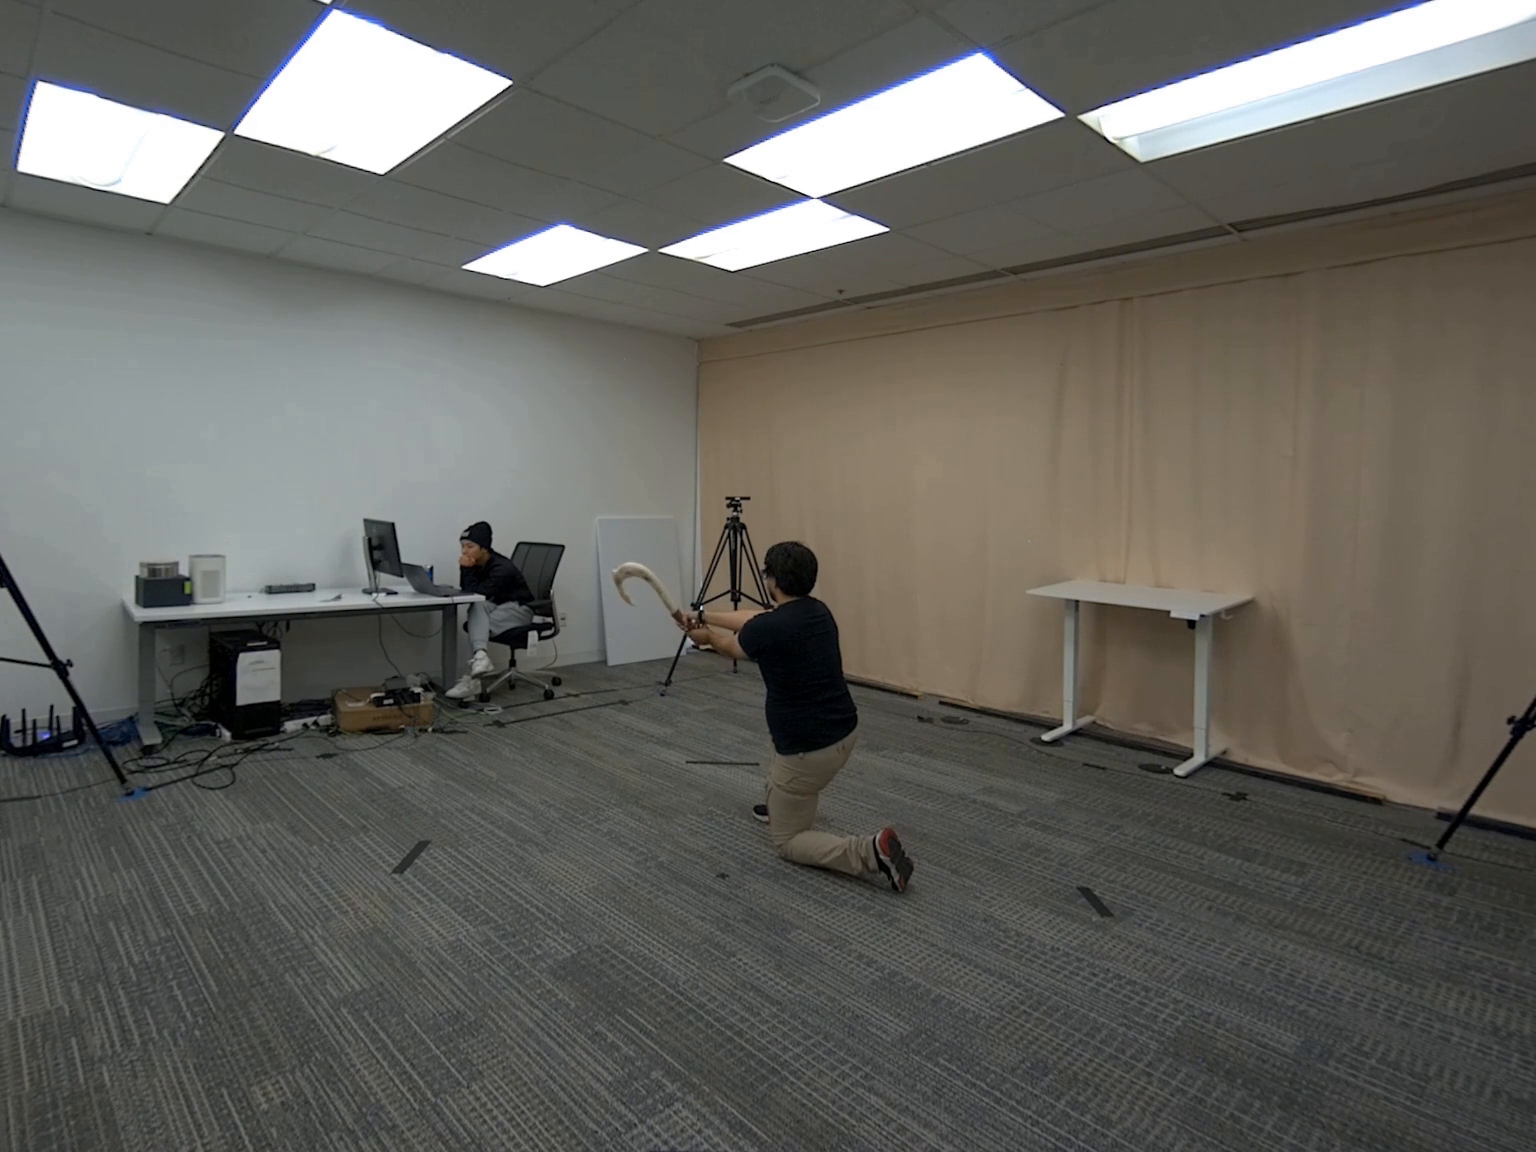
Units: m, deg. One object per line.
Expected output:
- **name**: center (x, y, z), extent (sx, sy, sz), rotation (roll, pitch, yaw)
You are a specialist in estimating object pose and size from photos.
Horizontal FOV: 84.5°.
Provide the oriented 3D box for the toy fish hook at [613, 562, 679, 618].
- **toy fish hook**: center (-0.483, 0.141, 3.672), extent (0.227, 0.497, 0.049), rotation (-26, 23, 36)
